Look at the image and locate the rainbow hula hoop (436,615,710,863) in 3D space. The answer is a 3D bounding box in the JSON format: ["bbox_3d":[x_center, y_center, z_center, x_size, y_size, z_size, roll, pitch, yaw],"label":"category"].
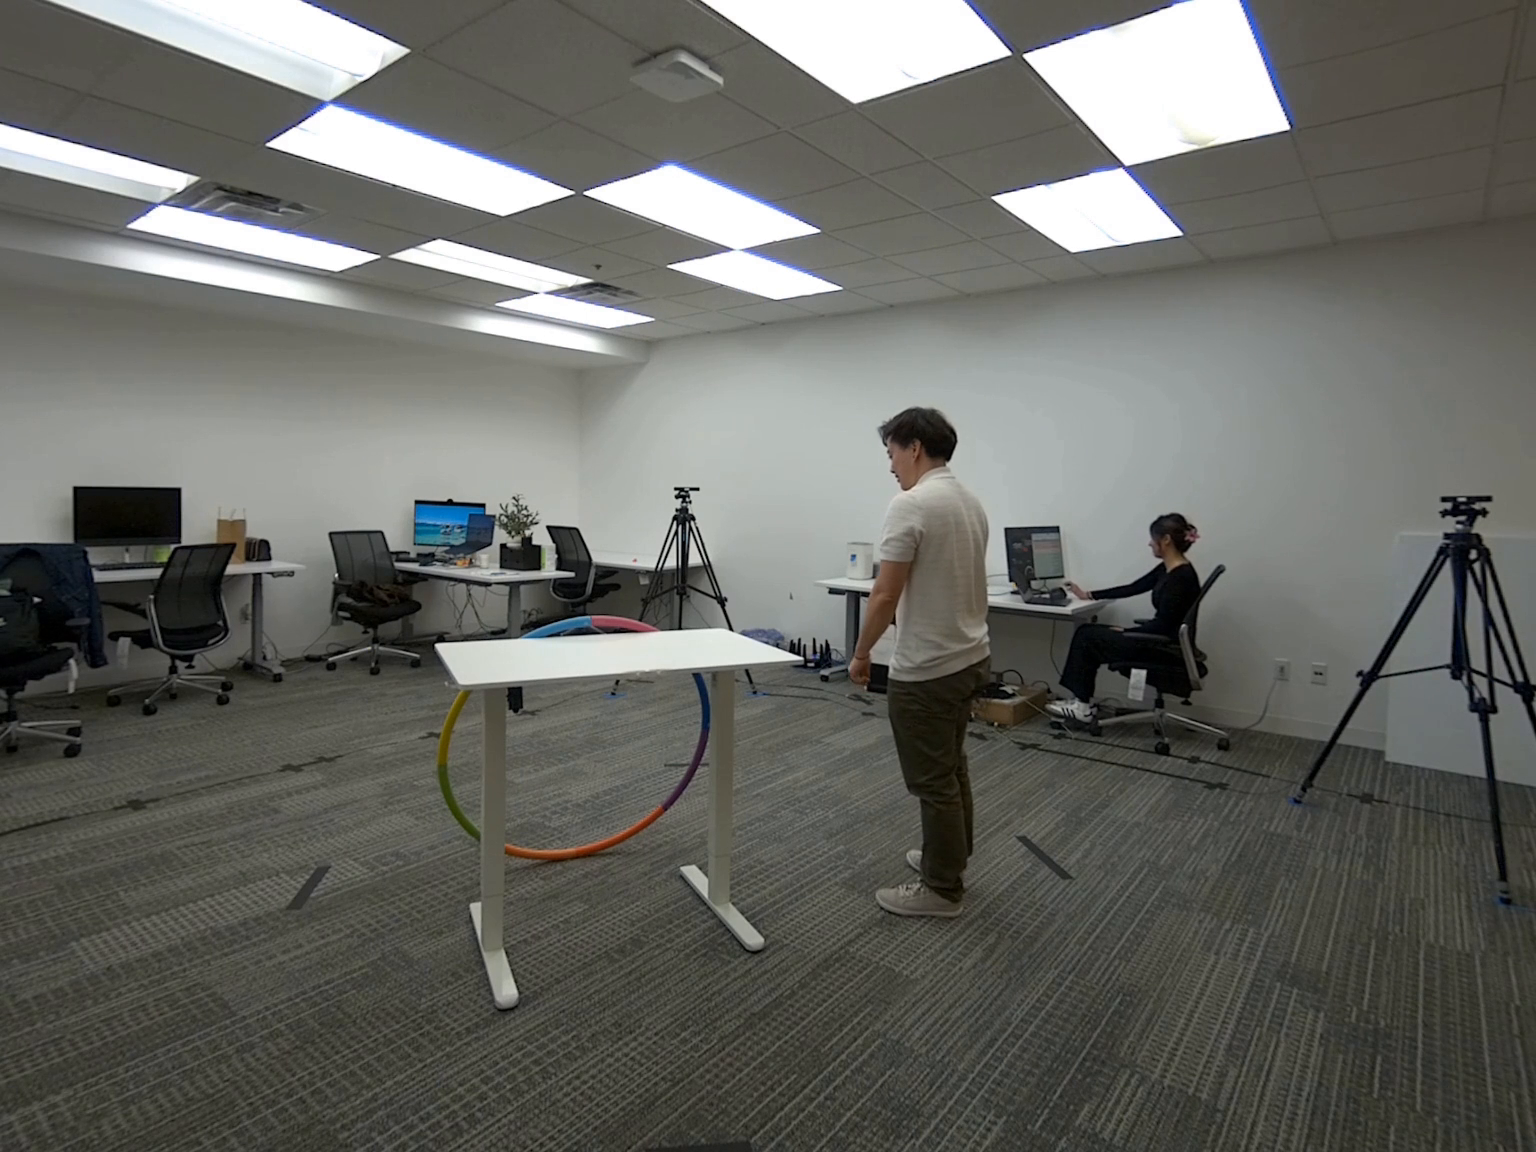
[{"bbox_3d":[-0.683,0.601,3.044,0.956,0.965,0.037,-1,20,-25],"label":"rainbow hula hoop"}]
